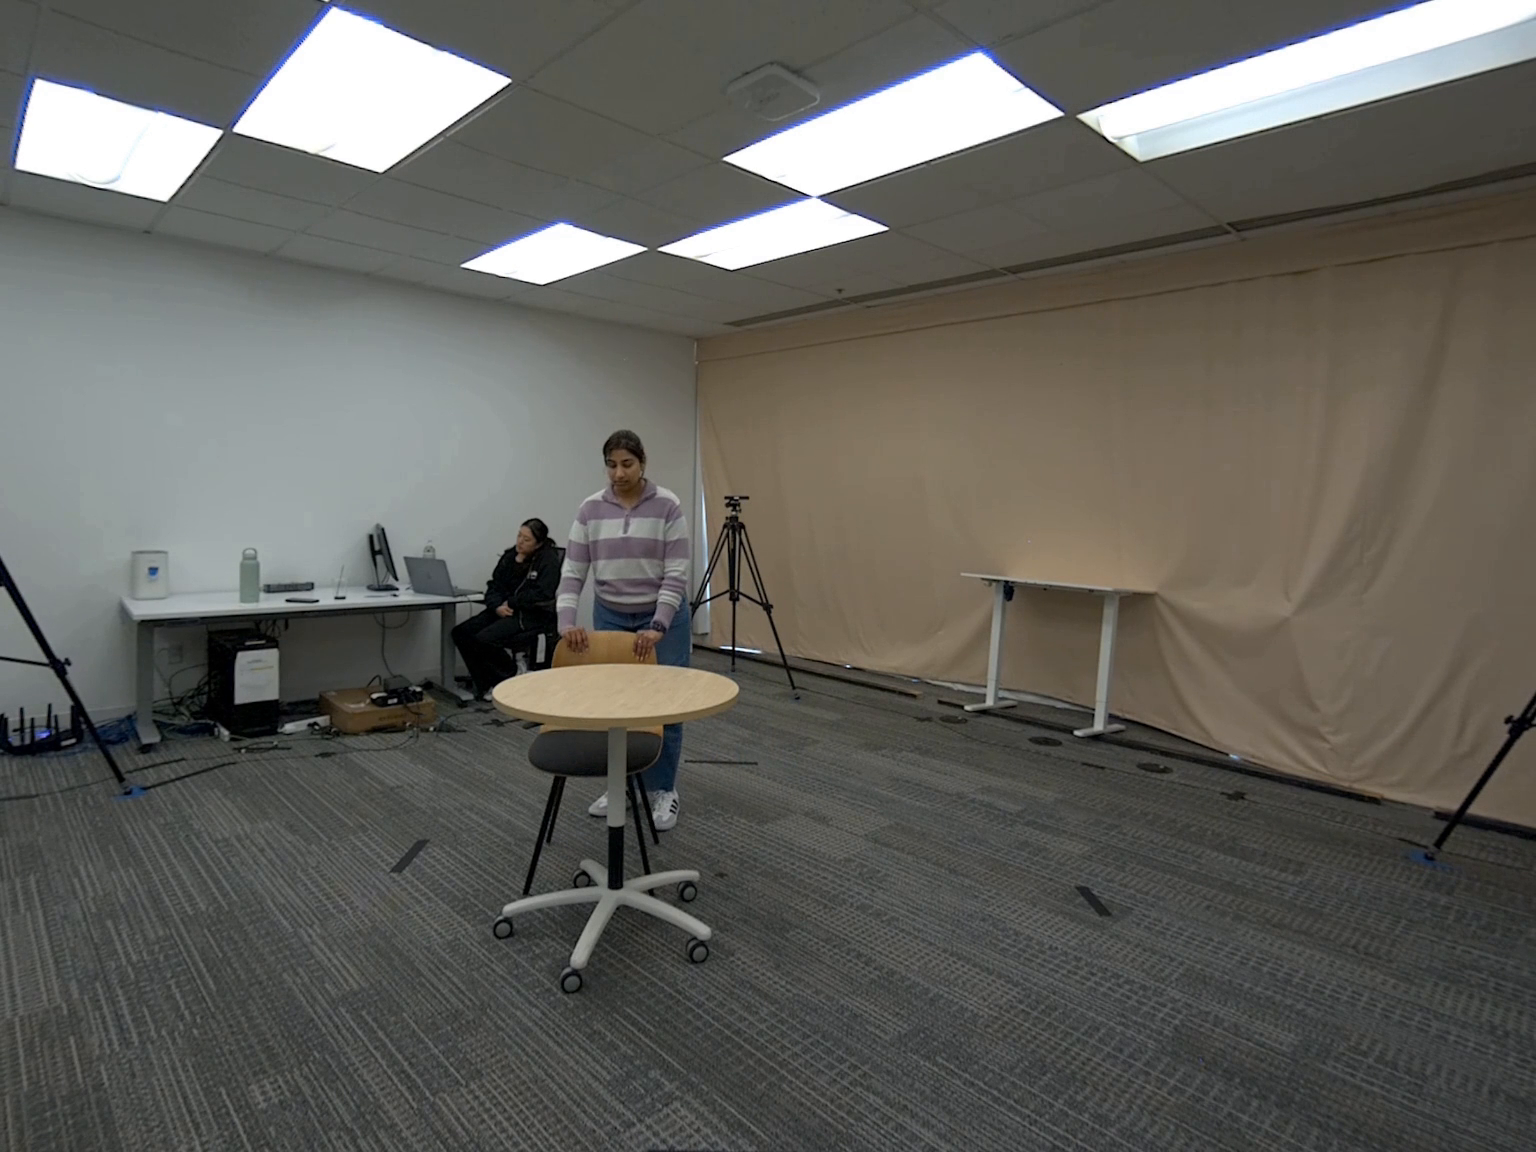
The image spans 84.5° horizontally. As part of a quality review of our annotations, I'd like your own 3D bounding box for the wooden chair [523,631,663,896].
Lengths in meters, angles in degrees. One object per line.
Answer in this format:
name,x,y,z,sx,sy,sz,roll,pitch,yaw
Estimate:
wooden chair,-0.635,0.665,3.103,0.476,0.878,0.524,2,-1,-5
